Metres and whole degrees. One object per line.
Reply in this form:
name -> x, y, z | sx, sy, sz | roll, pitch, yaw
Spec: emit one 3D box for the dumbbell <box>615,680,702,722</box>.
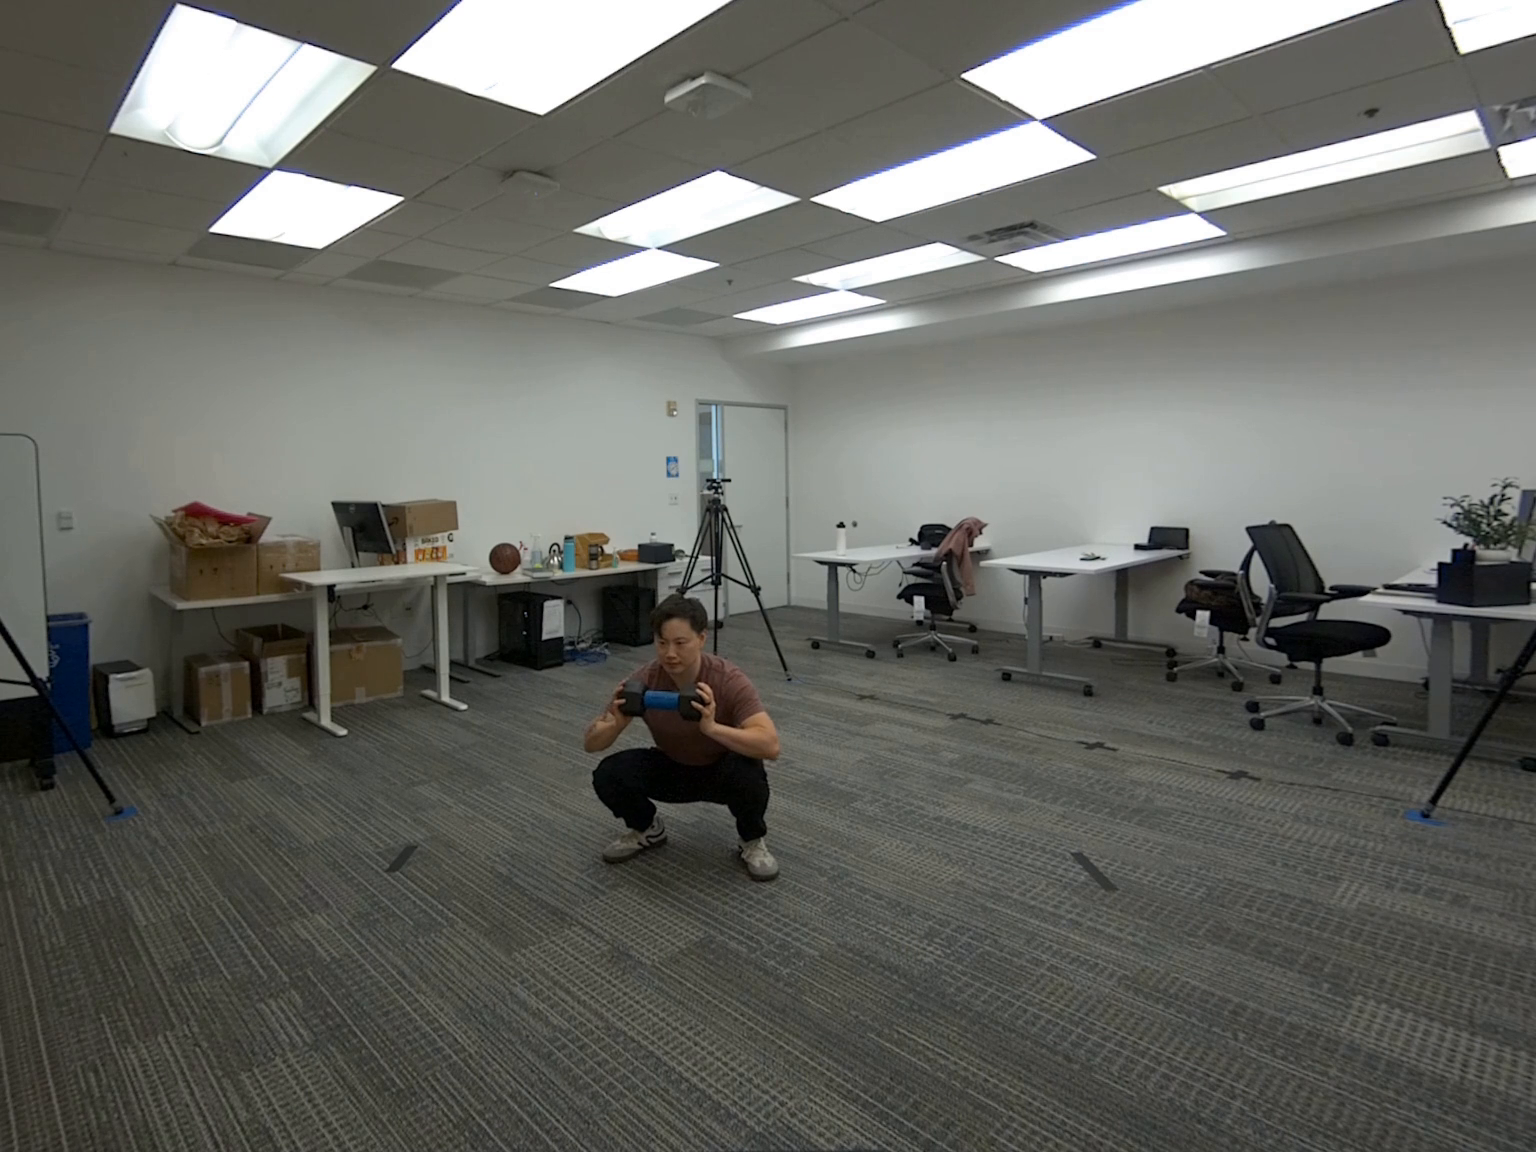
dumbbell -> -0.361, 0.407, 2.872 | 0.298, 0.106, 0.124 | 3, 29, 15
